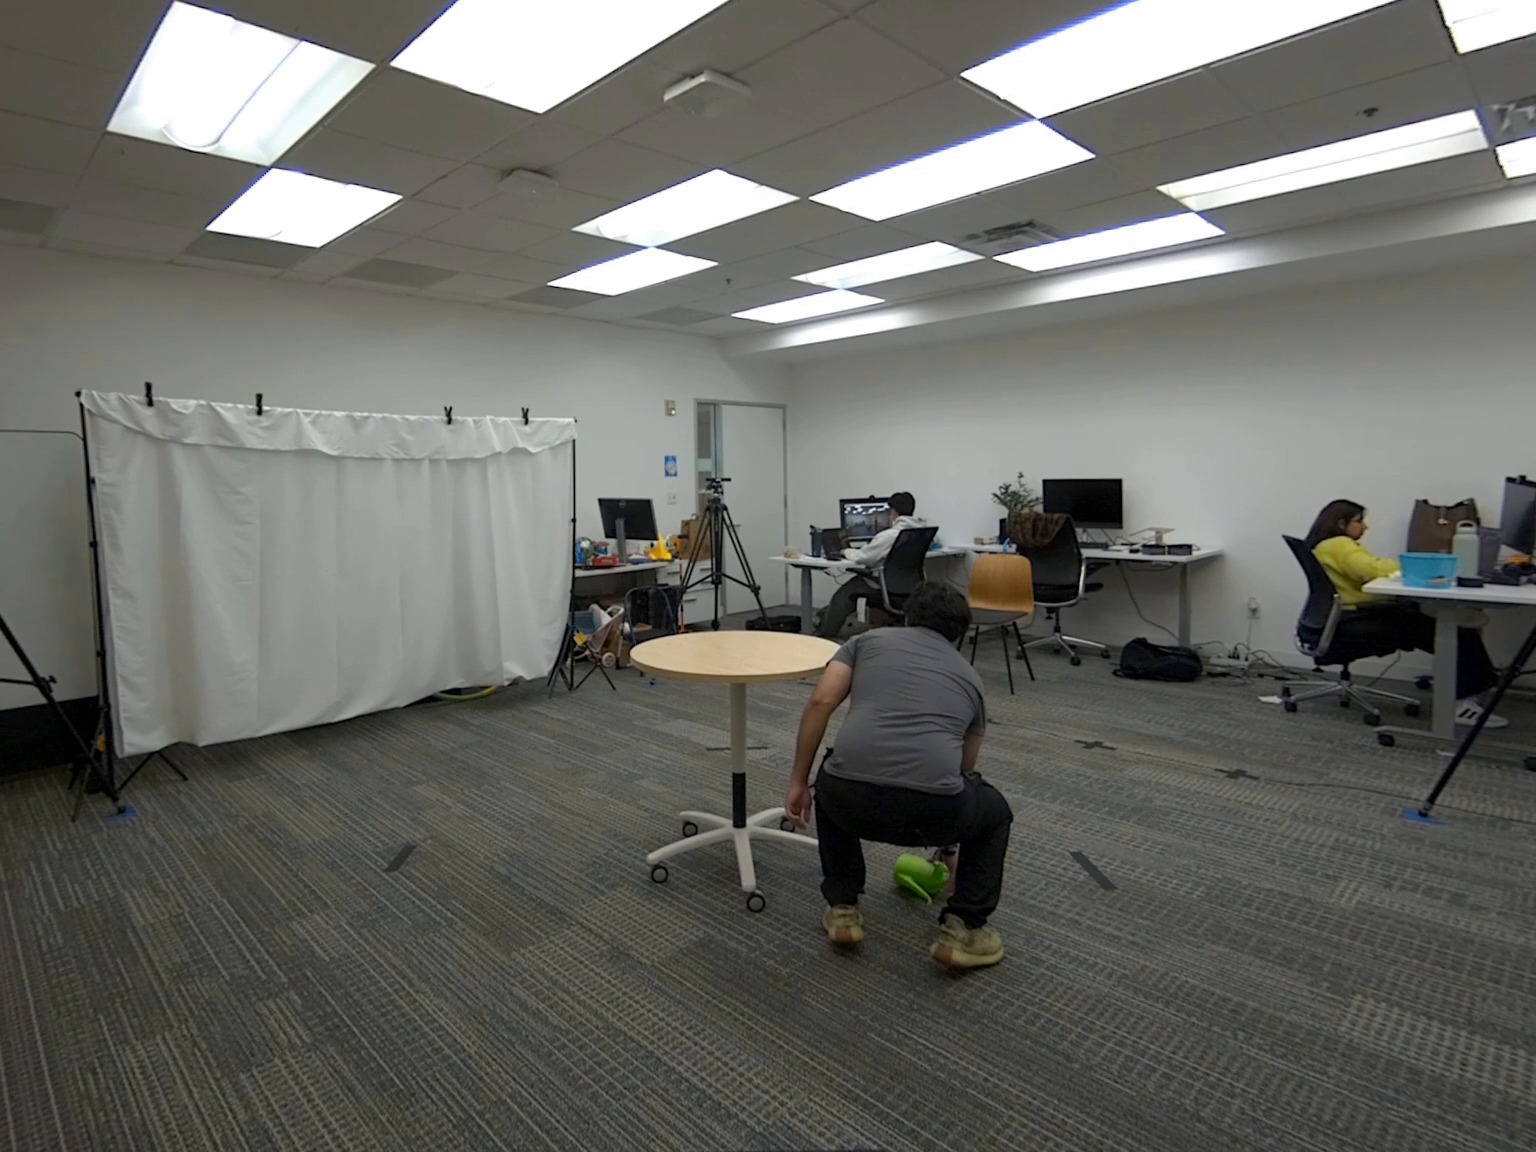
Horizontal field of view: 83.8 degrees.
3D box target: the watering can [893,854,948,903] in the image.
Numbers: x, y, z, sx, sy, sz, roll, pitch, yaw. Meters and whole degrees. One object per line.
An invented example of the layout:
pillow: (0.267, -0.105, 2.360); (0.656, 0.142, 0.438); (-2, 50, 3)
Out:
watering can: (0.509, 1.010, 2.845); (0.182, 0.098, 0.270); (4, -4, 31)
